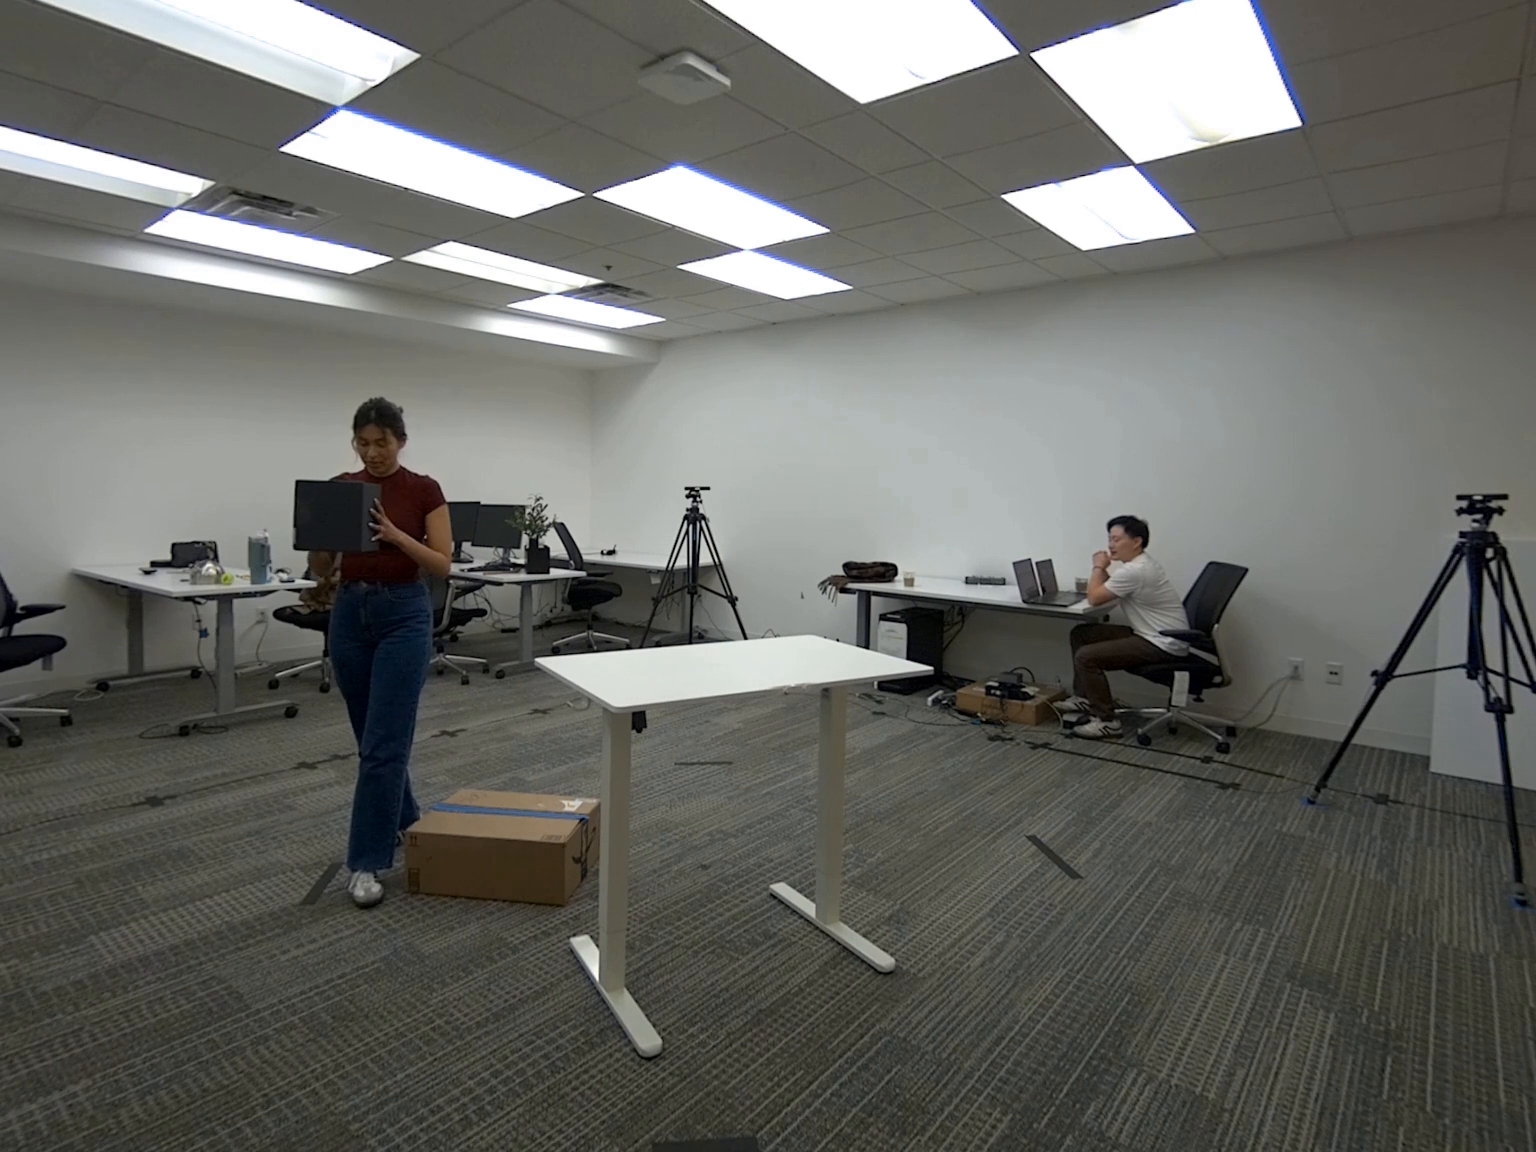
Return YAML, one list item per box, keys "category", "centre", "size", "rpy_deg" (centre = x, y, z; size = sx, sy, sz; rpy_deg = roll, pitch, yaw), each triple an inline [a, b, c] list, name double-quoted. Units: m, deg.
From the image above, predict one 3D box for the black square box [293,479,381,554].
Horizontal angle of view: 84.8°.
- category: "black square box"
  centre: [-1.415, -0.204, 2.762]
  size: [0.216, 0.227, 0.157]
  rpy_deg: [2, 3, -3]
